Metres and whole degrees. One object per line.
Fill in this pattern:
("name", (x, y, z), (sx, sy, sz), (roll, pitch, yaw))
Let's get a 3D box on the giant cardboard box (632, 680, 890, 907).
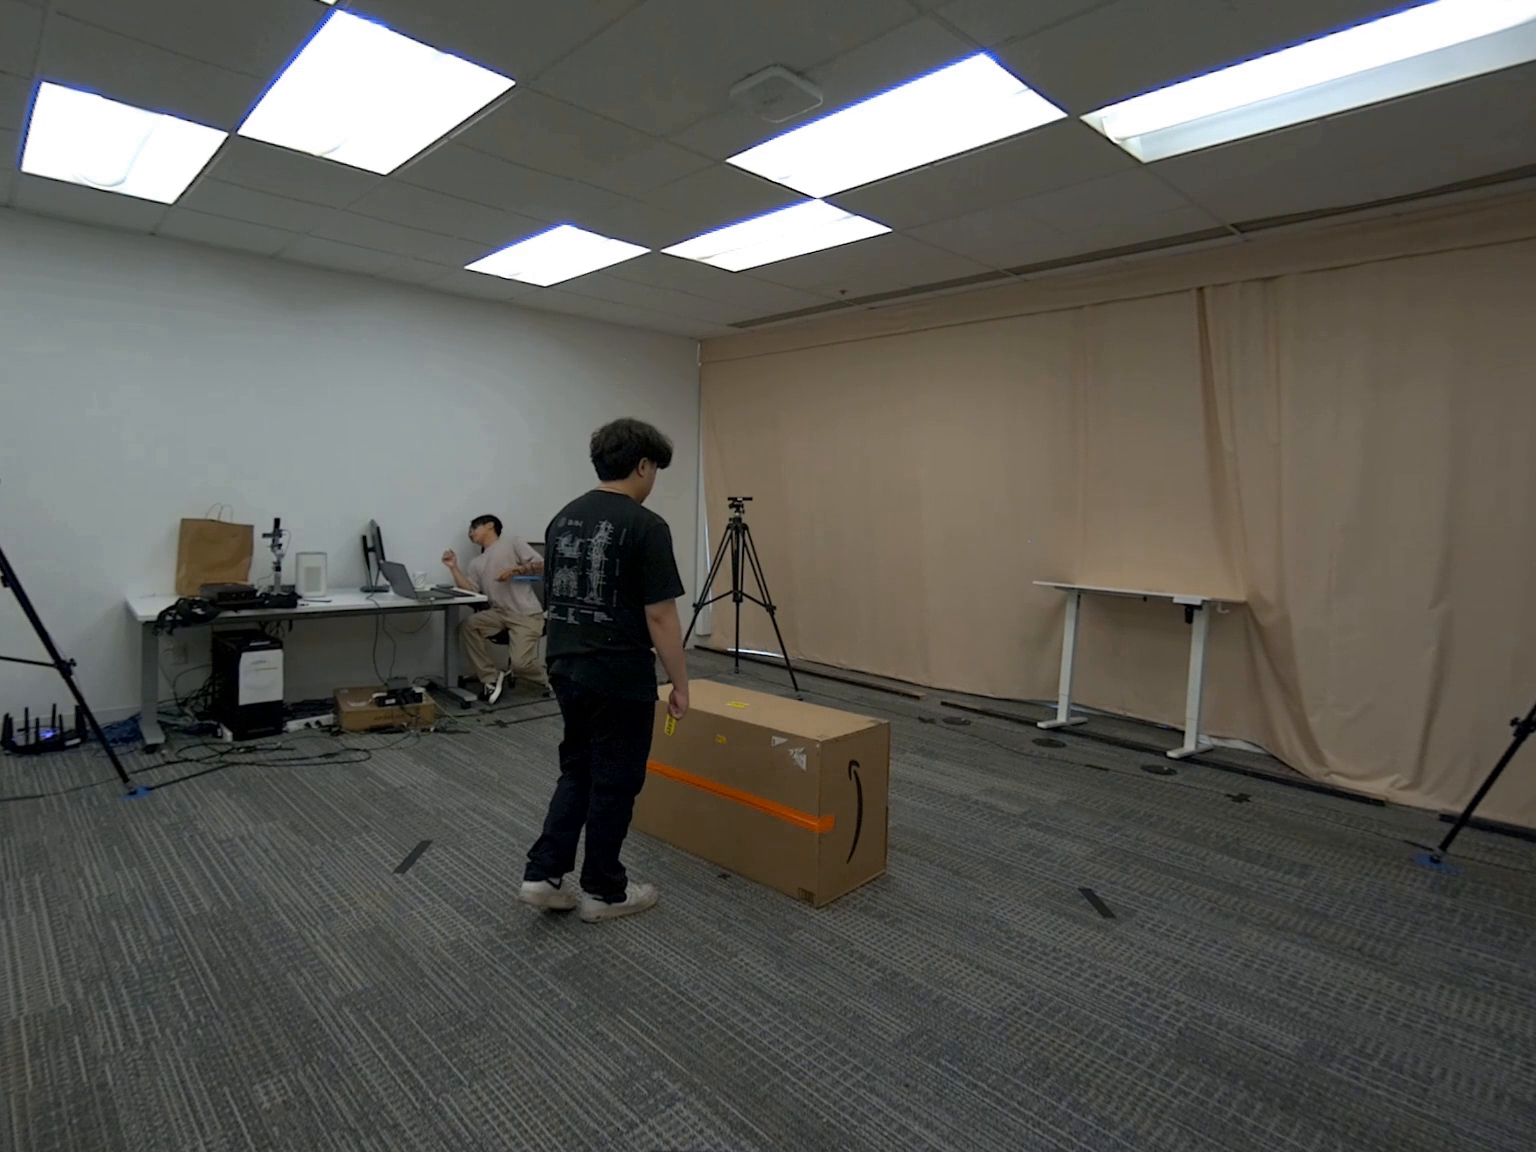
("giant cardboard box", (-0.075, 0.802, 3.354), (1.053, 0.582, 0.437), (5, 5, 42))
